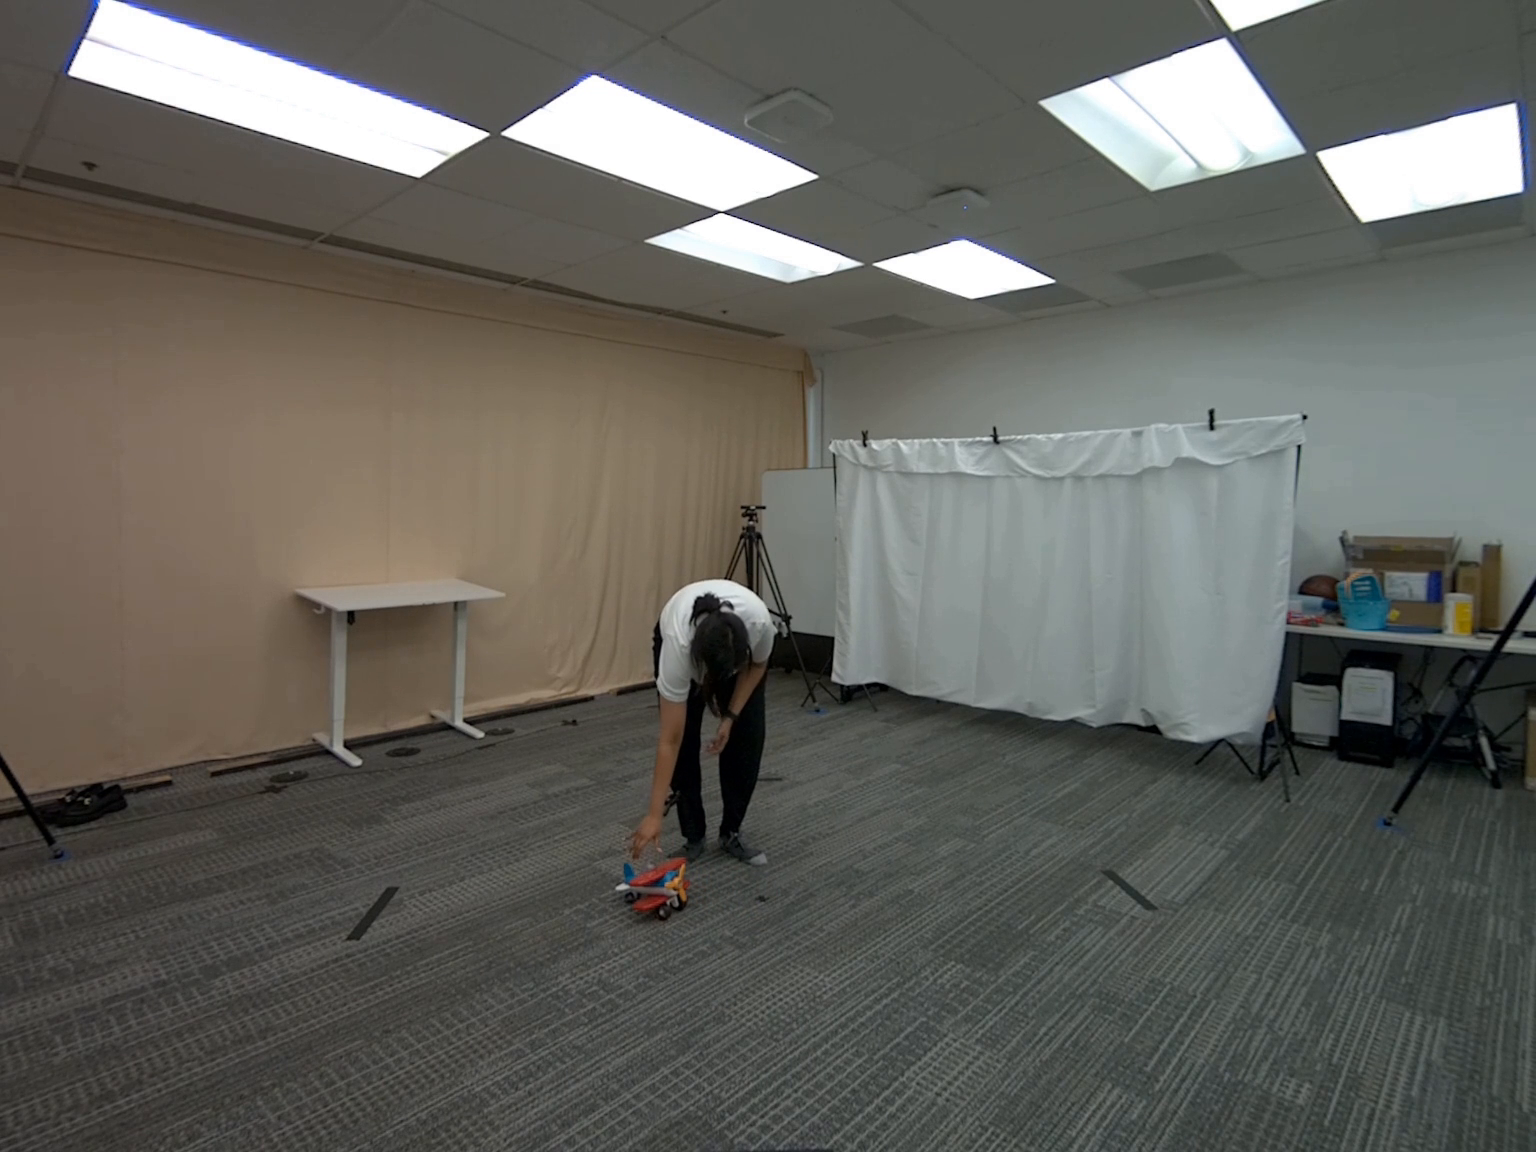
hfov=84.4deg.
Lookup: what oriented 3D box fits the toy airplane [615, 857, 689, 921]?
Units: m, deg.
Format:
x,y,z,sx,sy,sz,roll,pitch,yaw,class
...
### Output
x,y,z,sx,sy,sz,roll,pitch,yaw,class
-0.410,1.071,2.902,0.262,0.156,0.249,1,5,7,toy airplane
